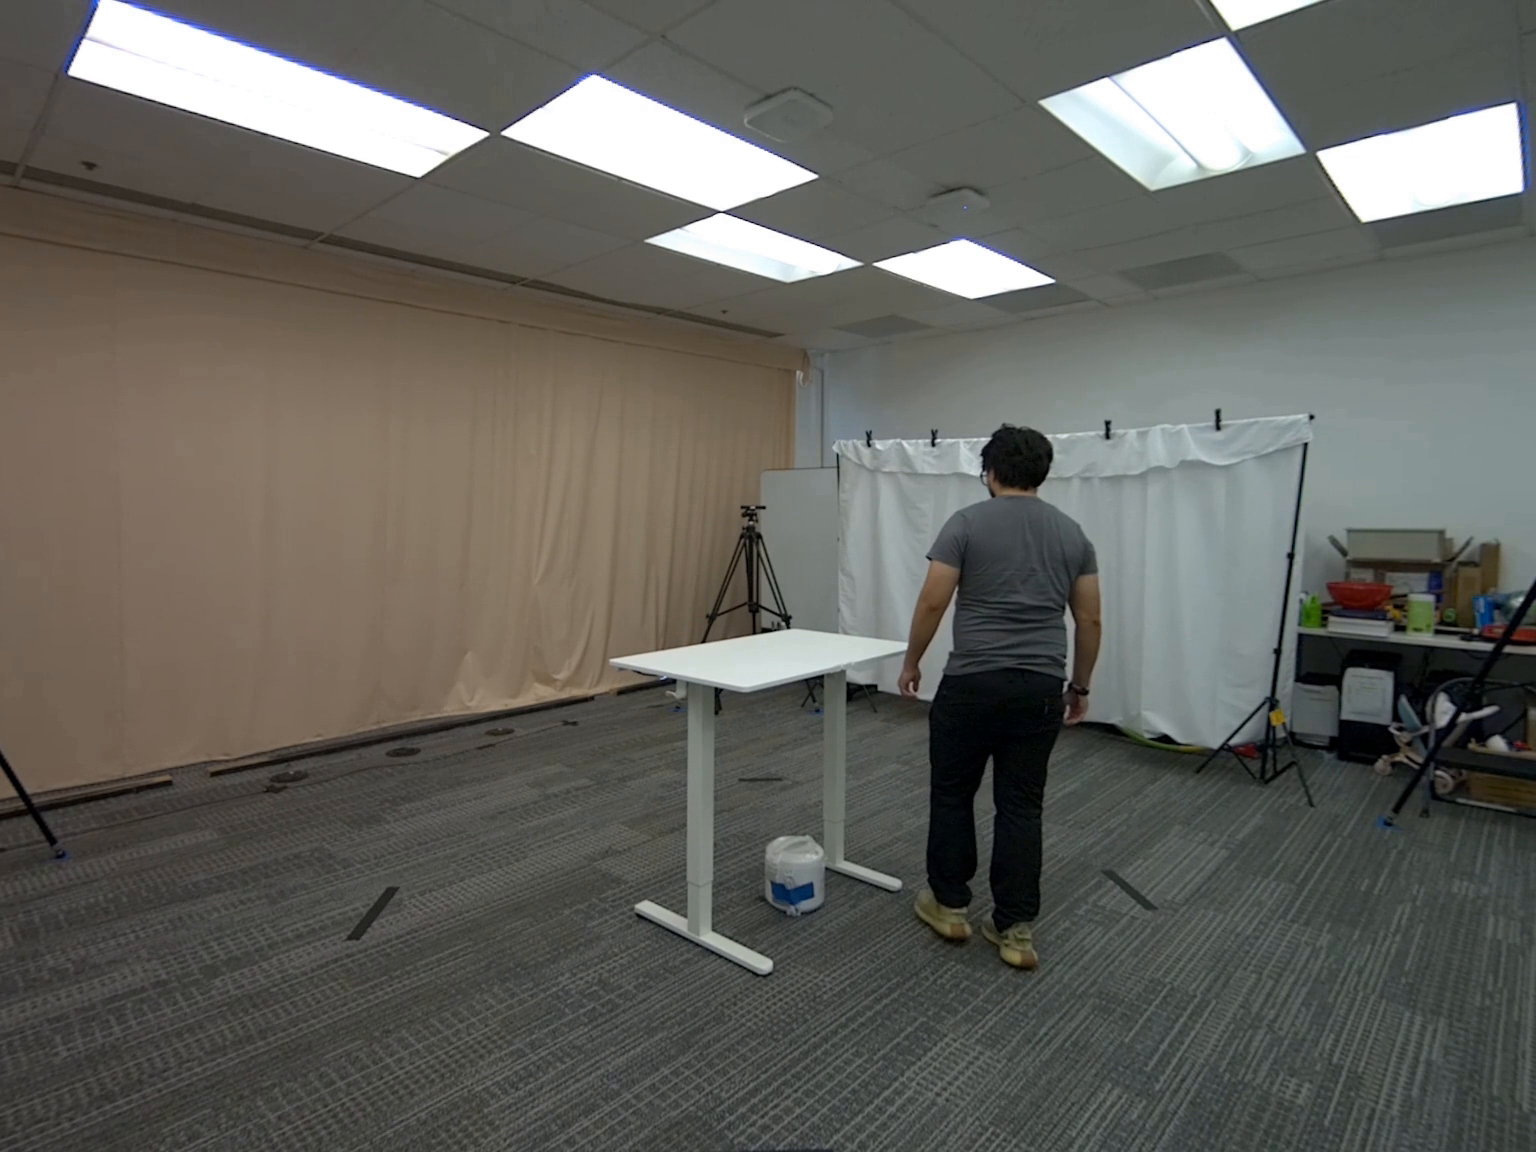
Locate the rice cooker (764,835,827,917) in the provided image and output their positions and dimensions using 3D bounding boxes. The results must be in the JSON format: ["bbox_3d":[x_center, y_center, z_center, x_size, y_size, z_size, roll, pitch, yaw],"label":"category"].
[{"bbox_3d":[0.096,1.032,2.948,0.214,0.232,0.224,-3,6,-36],"label":"rice cooker"}]
